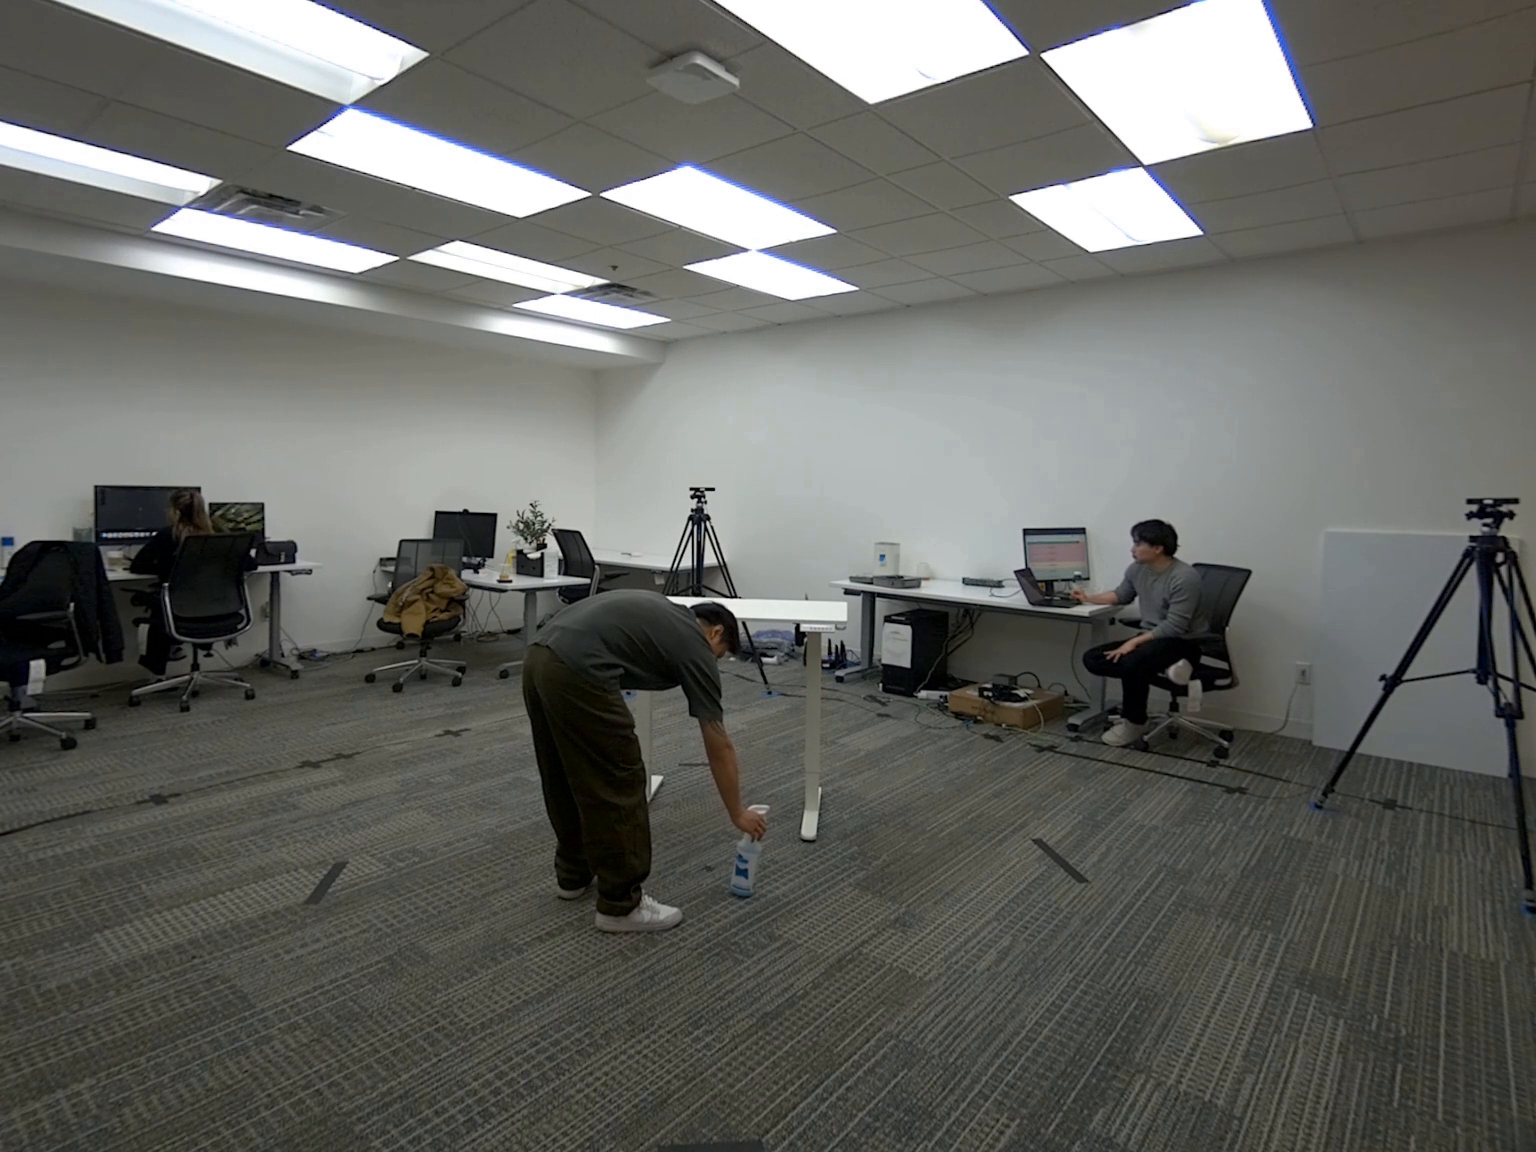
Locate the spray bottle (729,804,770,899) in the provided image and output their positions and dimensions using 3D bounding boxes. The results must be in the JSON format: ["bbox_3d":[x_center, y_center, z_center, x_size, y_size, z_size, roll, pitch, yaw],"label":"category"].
[{"bbox_3d":[-0.075,0.944,2.924,0.090,0.298,0.087,10,-3,-2],"label":"spray bottle"}]
